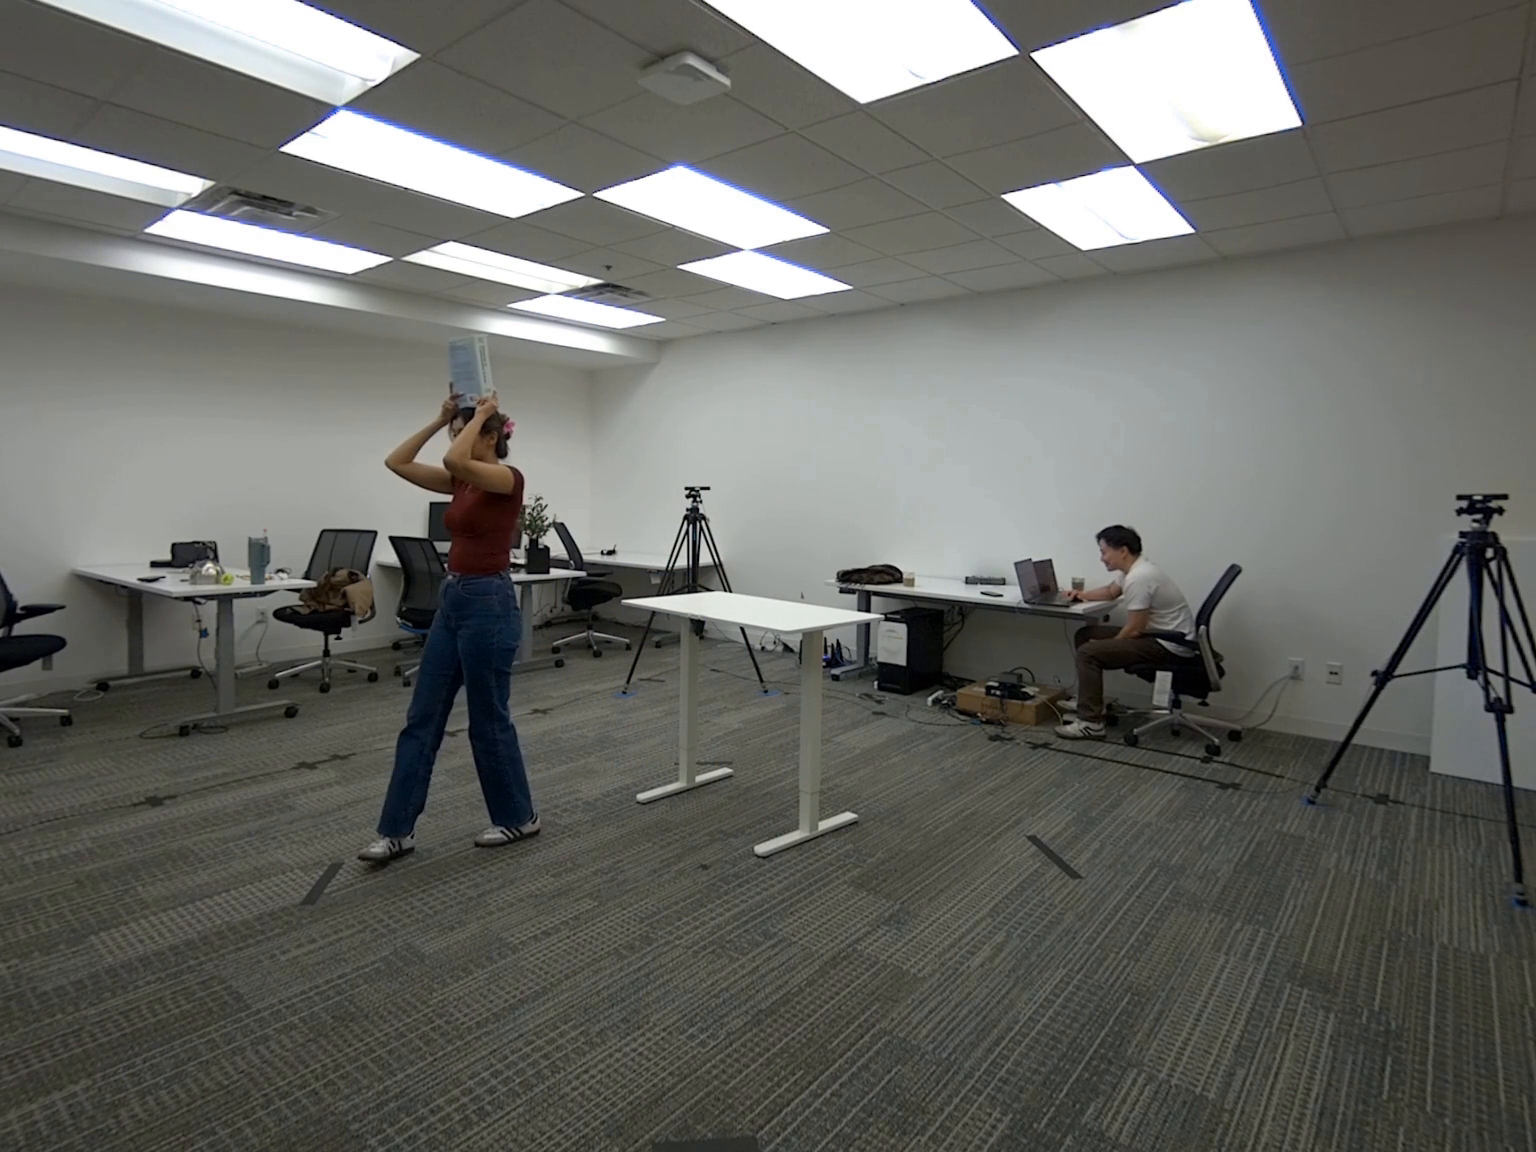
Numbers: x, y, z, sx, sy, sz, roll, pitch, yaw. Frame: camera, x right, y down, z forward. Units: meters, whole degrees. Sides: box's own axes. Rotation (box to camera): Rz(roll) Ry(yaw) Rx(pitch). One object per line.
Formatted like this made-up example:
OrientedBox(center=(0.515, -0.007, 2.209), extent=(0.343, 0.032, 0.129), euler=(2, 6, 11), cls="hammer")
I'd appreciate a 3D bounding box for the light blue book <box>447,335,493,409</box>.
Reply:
OrientedBox(center=(-1.138, -0.774, 3.203), extent=(0.198, 0.258, 0.058), euler=(5, 15, 38), cls="light blue book")
